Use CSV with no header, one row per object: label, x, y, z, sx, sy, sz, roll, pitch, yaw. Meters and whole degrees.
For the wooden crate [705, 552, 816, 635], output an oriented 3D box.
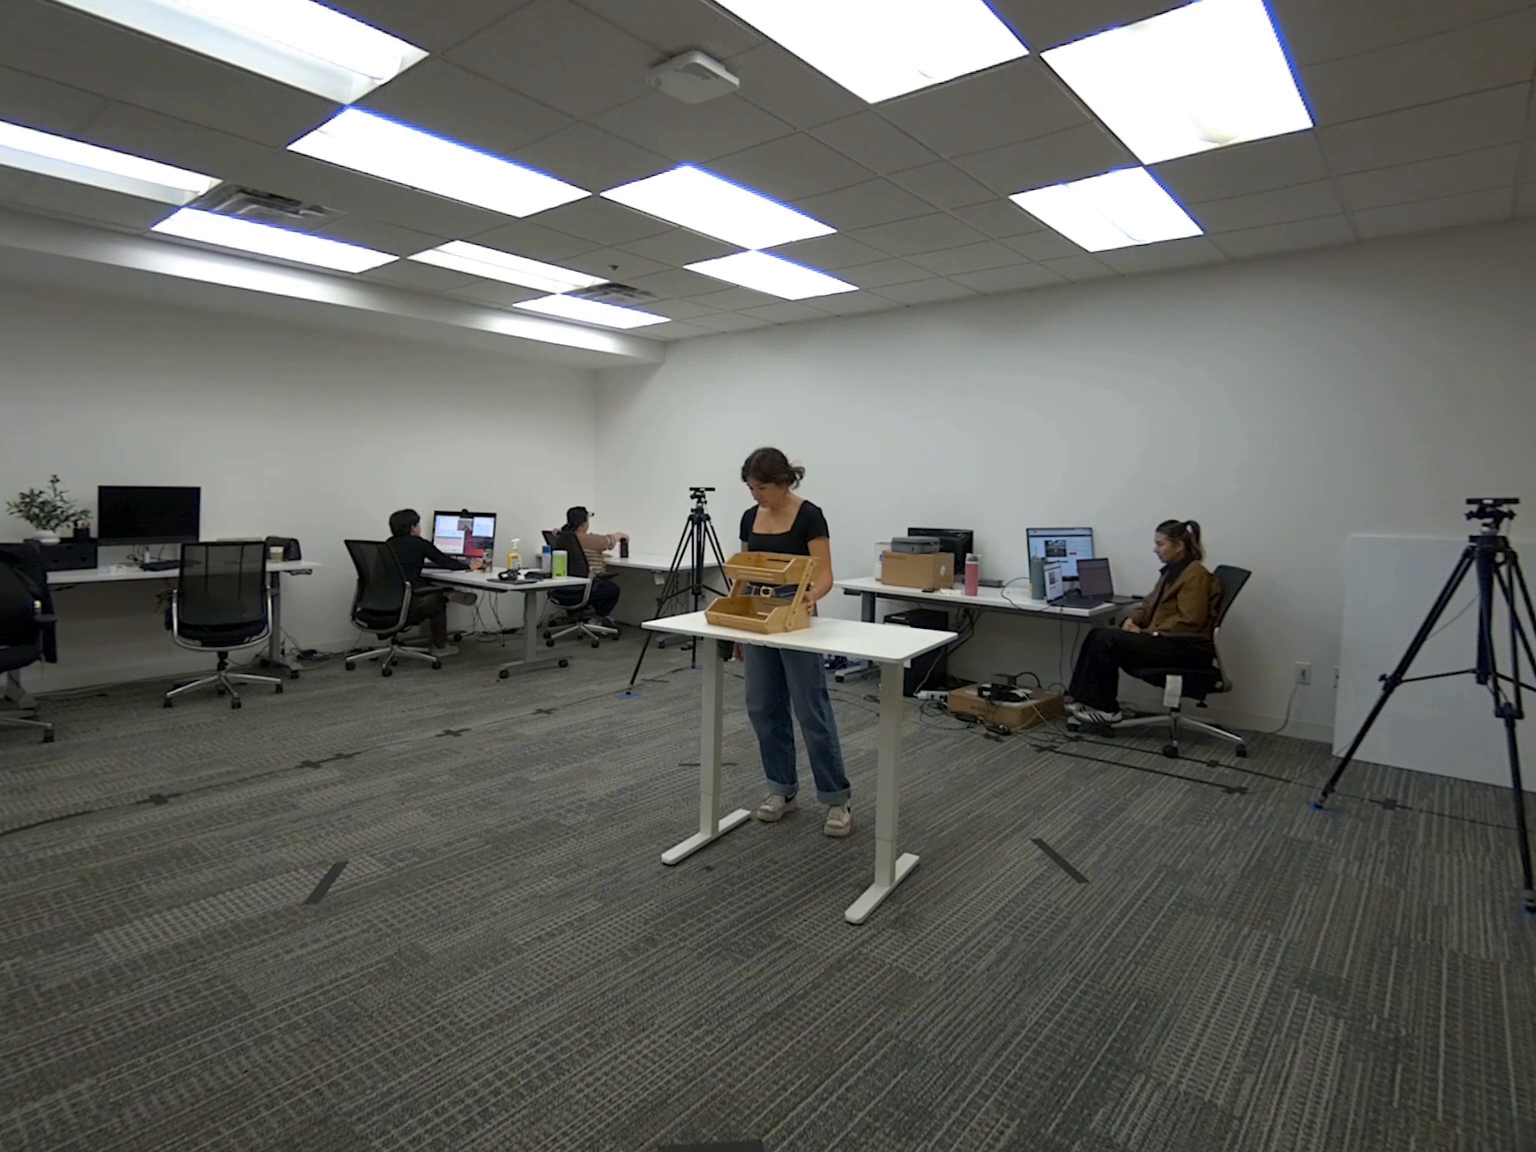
wooden crate,-0.032,0.047,3.163,0.336,0.272,0.293,6,6,41
